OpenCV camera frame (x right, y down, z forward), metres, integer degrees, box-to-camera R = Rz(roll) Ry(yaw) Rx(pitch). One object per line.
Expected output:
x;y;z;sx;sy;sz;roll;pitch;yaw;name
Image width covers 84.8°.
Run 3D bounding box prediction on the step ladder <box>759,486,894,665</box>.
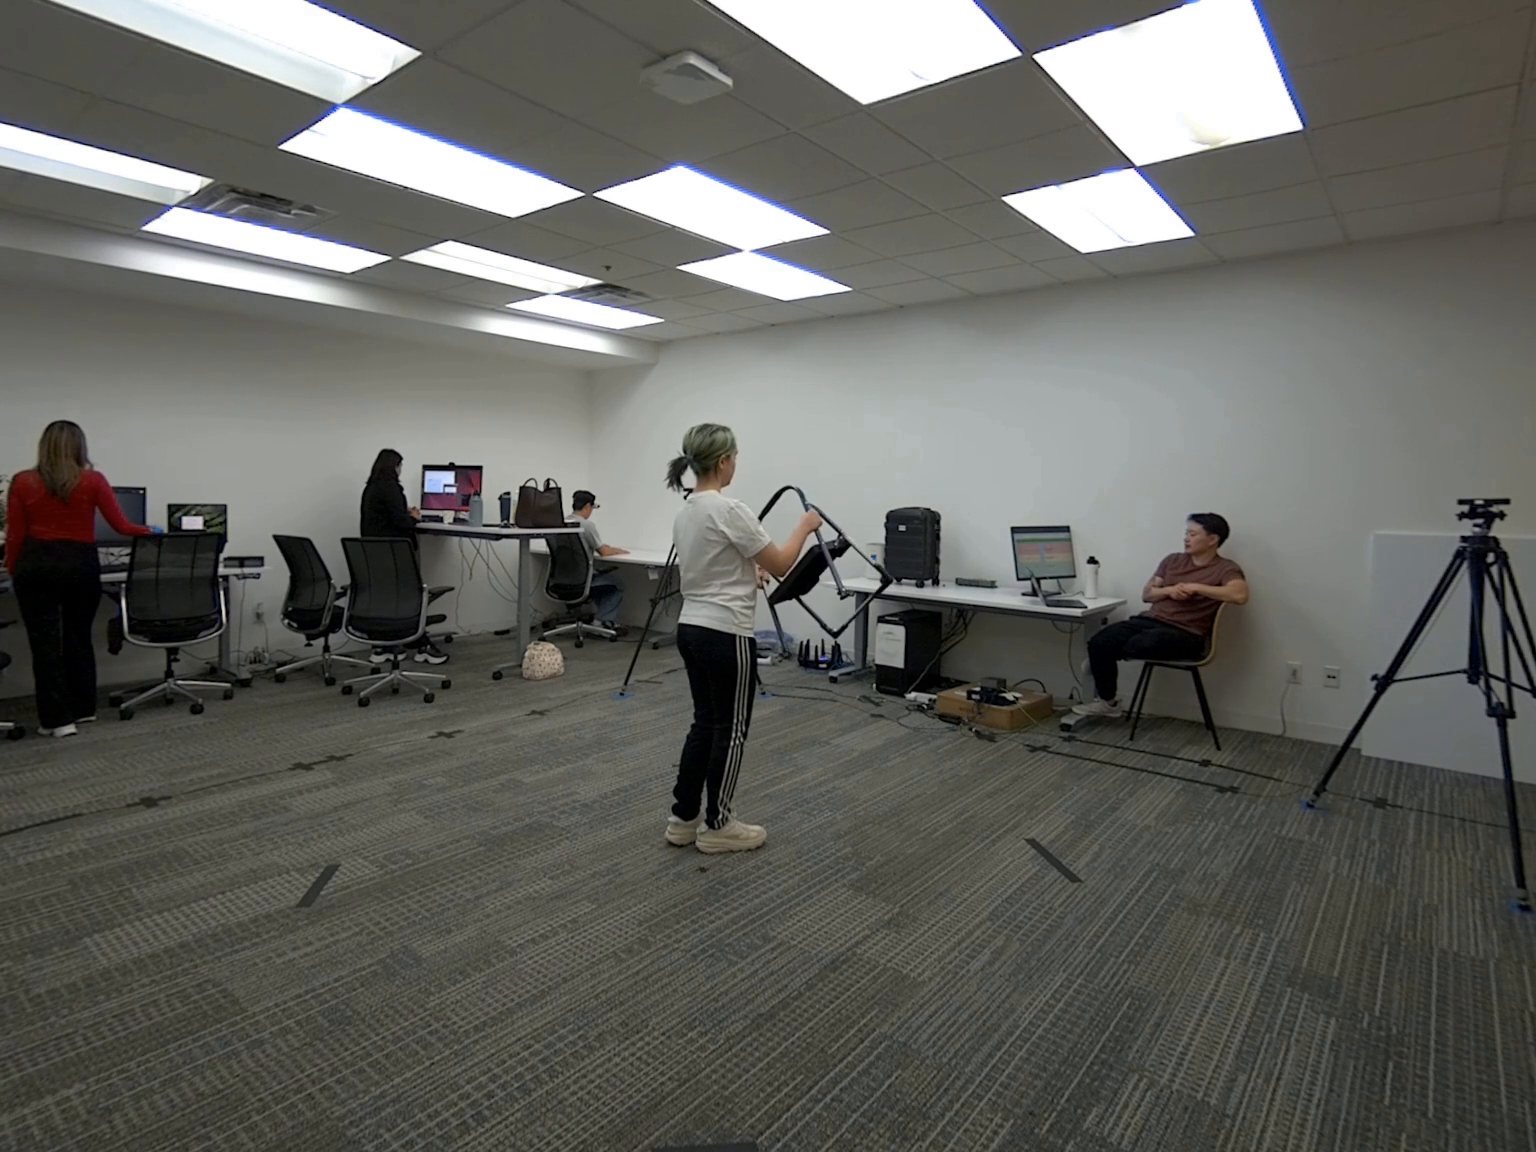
0.110;-0.064;3.479;0.340;0.624;0.429;-11;-32;-46;step ladder
